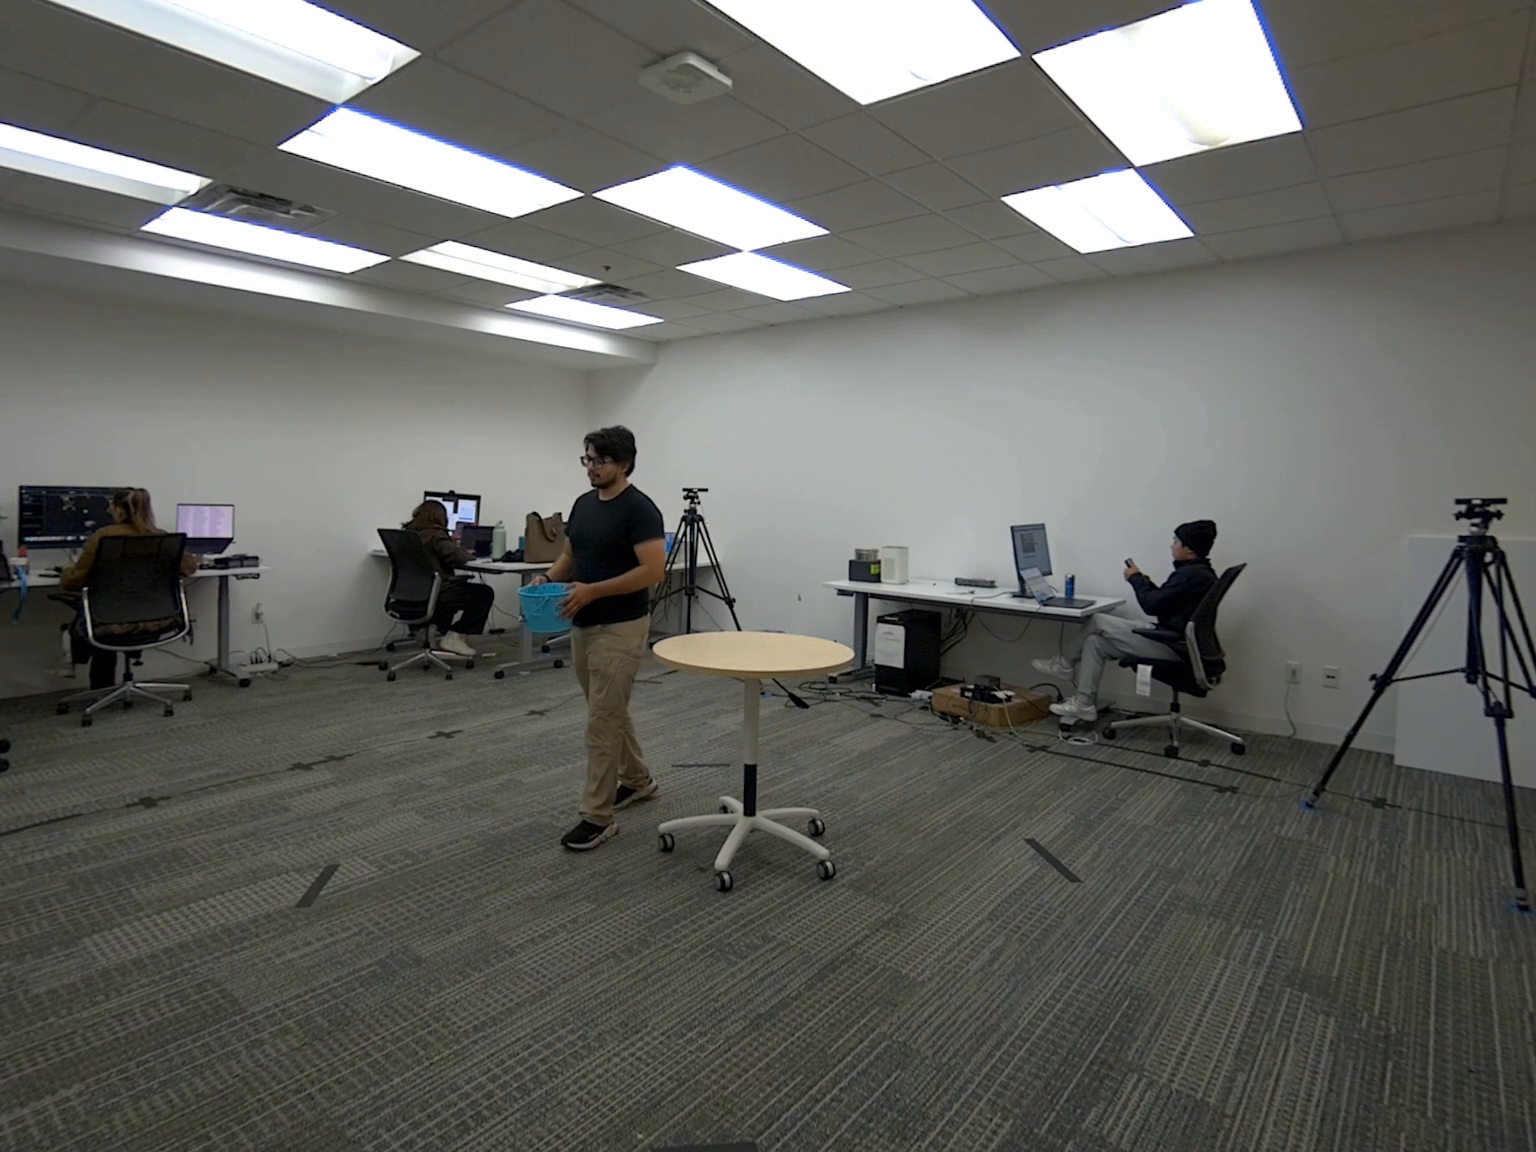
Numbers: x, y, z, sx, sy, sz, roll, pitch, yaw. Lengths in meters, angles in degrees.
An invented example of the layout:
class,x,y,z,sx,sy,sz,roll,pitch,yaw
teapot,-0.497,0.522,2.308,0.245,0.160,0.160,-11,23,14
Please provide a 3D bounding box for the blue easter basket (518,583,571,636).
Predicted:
class,x,y,z,sx,sy,sz,roll,pitch,yaw
blue easter basket,-0.890,0.124,3.352,0.243,0.155,0.245,-1,7,-2
